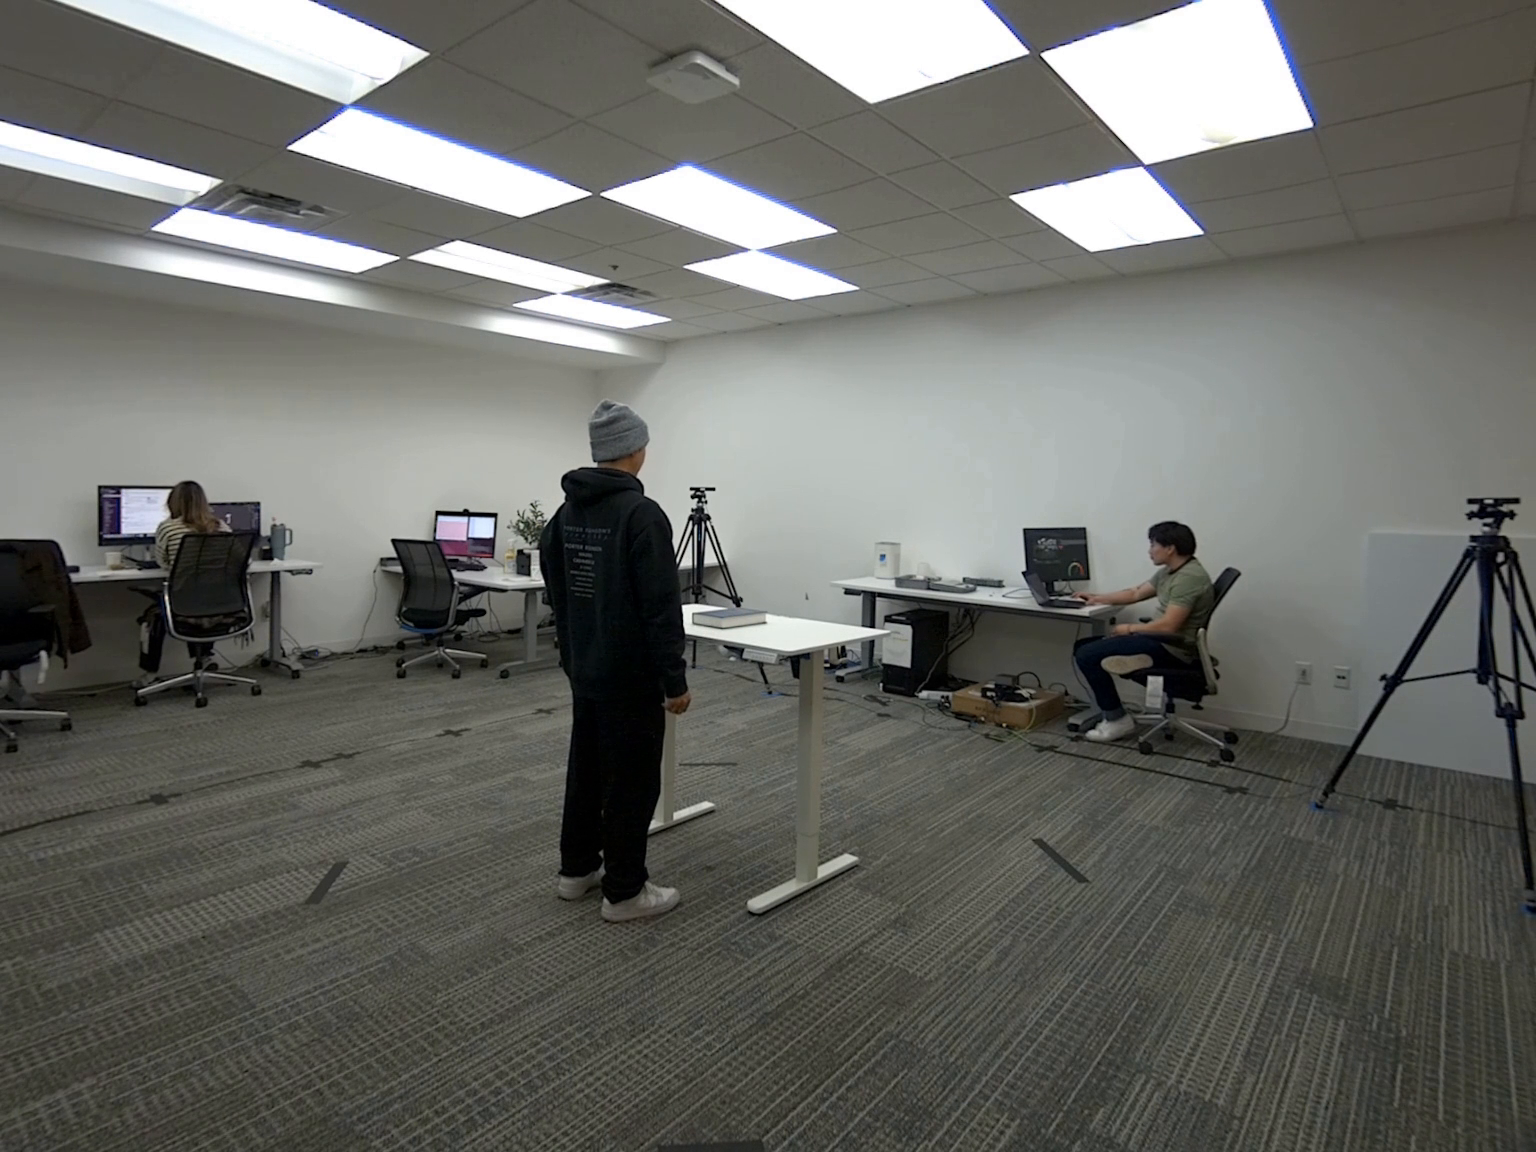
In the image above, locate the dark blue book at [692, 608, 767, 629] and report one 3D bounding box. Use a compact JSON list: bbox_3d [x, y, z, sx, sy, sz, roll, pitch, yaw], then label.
[{"bbox_3d":[-0.146,0.157,3.207,0.169,0.045,0.238,5,7,43],"label":"dark blue book"}]
